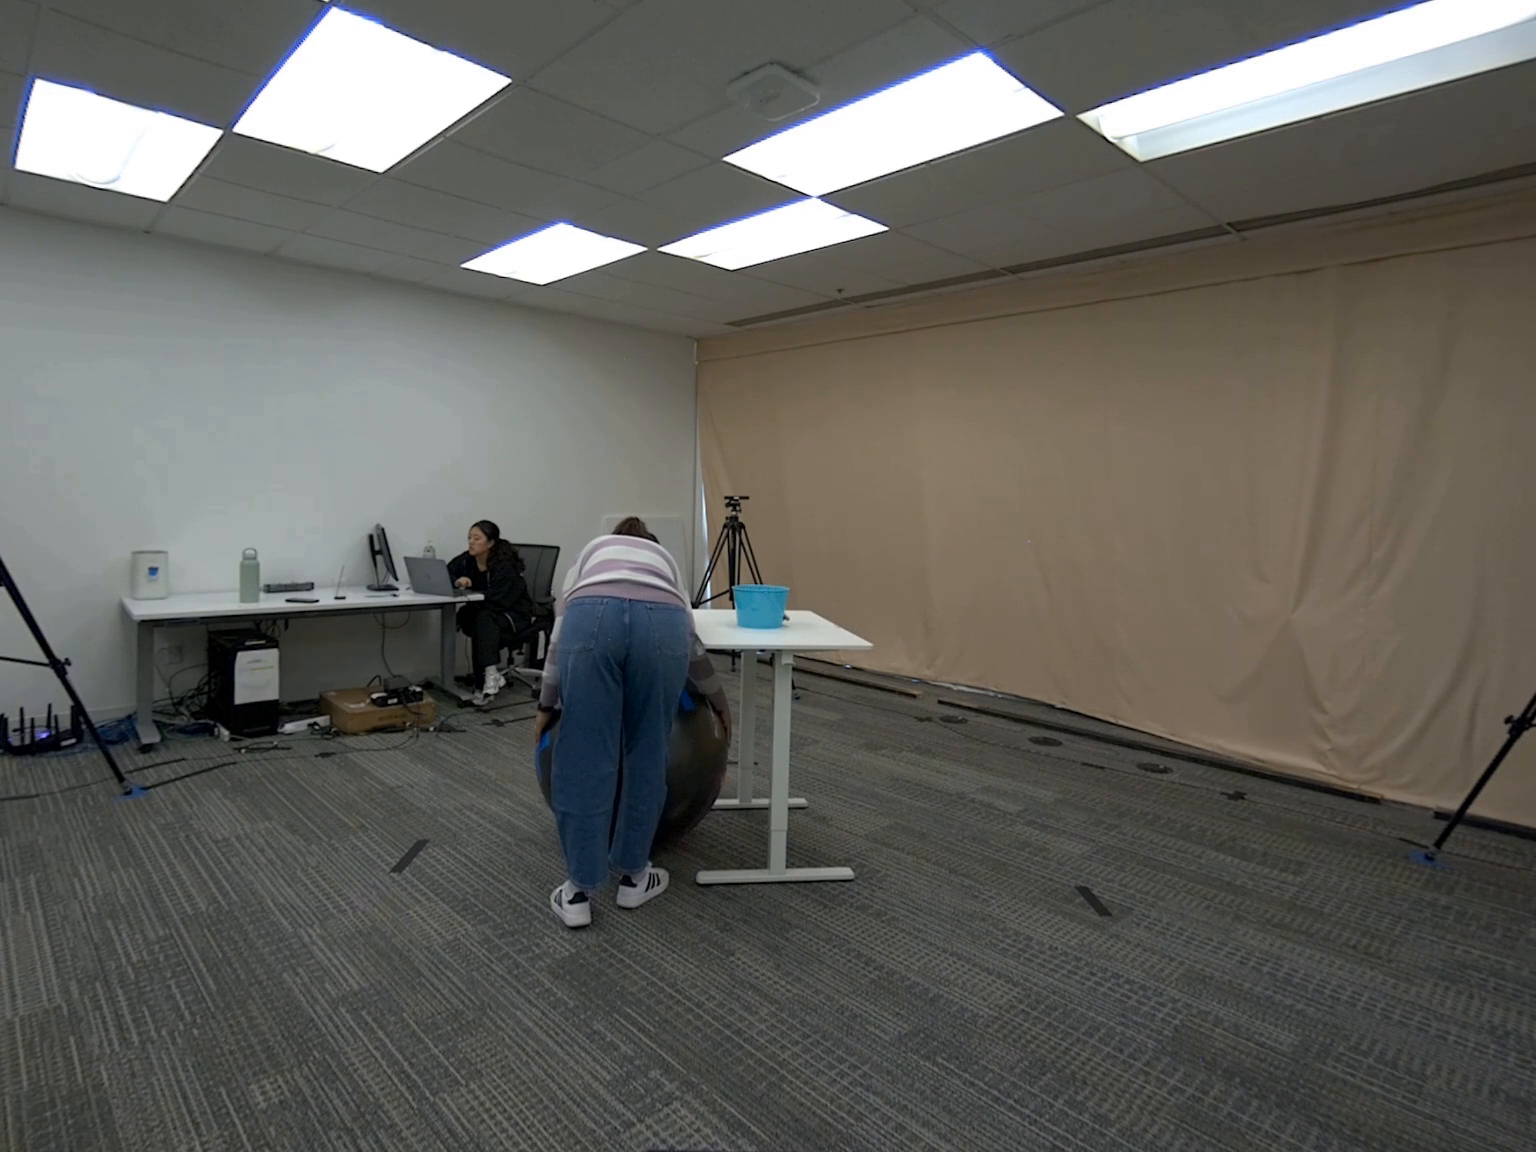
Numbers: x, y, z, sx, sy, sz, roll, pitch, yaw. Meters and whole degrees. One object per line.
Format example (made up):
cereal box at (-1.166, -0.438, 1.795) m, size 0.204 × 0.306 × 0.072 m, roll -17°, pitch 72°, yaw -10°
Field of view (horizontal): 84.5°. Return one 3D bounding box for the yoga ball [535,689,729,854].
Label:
yoga ball at (-0.552, 0.697, 3.351) m, size 0.757 × 0.756 × 0.761 m, roll 1°, pitch 4°, yaw -1°
